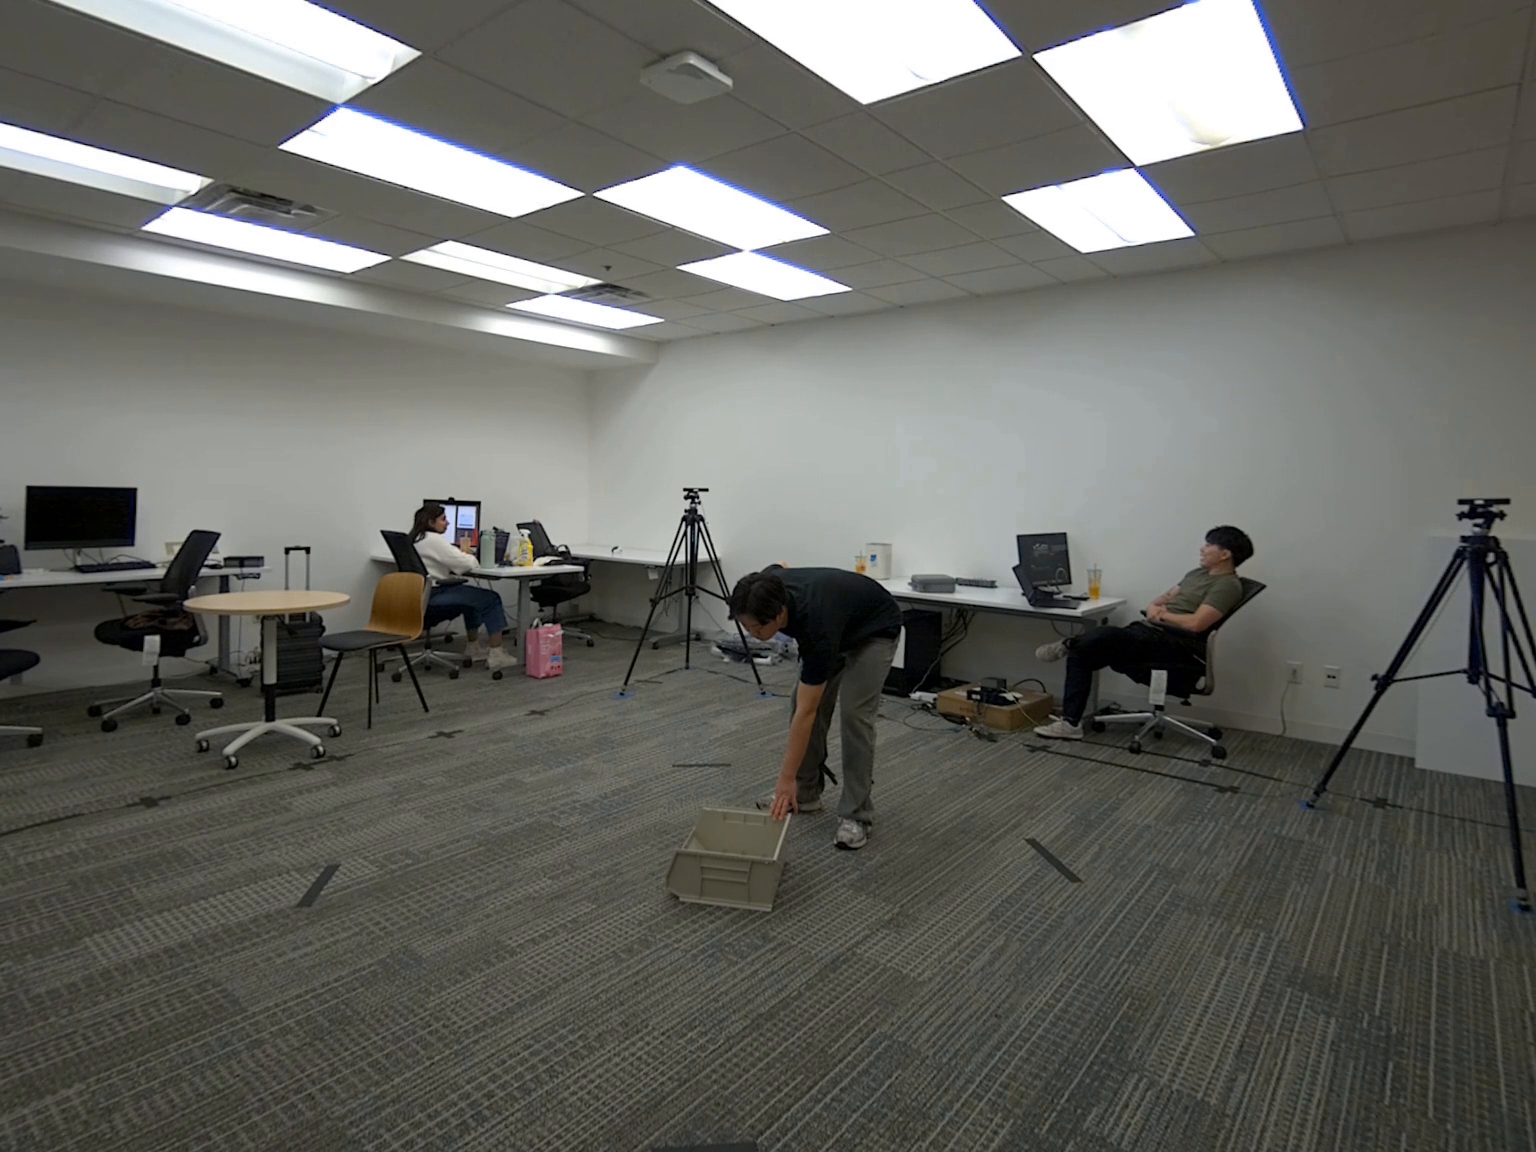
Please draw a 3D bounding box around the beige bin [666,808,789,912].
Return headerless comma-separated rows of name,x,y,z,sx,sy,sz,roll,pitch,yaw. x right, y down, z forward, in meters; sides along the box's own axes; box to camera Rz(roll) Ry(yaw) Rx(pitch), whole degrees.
beige bin,-0.141,0.992,3.026,0.382,0.188,0.419,3,5,9
